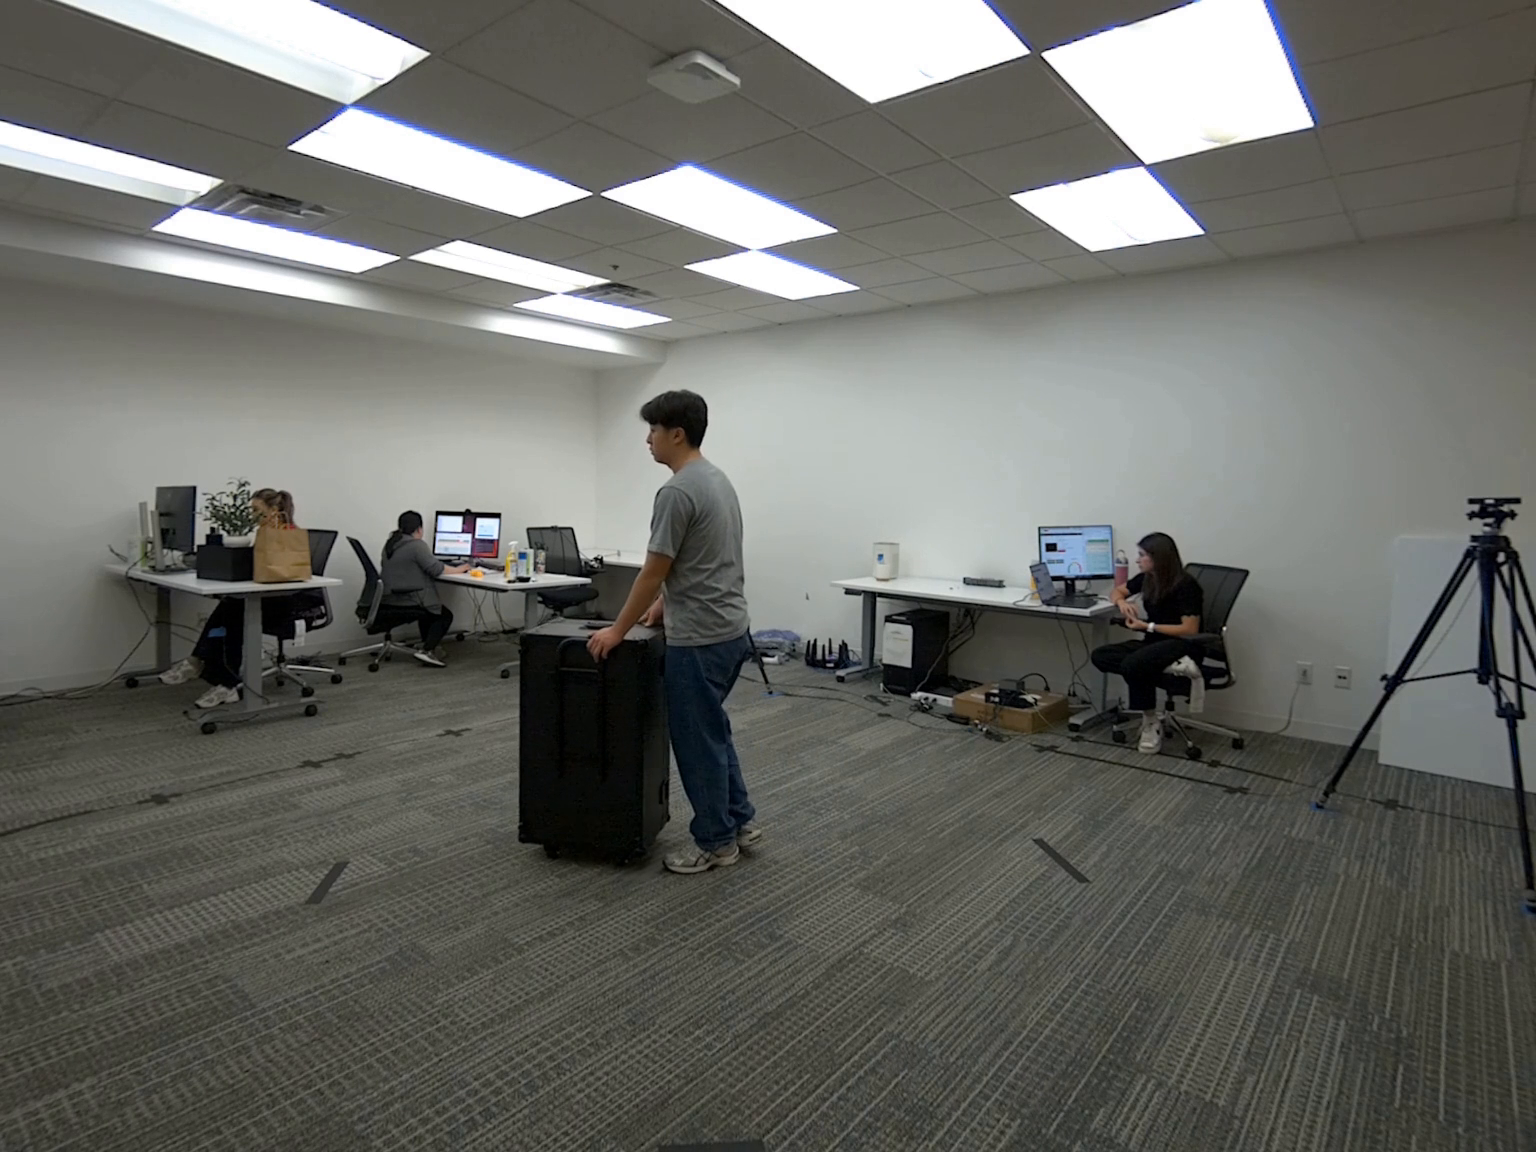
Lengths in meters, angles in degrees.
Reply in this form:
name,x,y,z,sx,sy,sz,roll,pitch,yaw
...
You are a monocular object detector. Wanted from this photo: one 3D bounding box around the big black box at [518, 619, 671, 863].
name,x,y,z,sx,sy,sz,roll,pitch,yaw
big black box,-0.661,0.624,3.229,0.528,0.858,0.393,2,5,12
